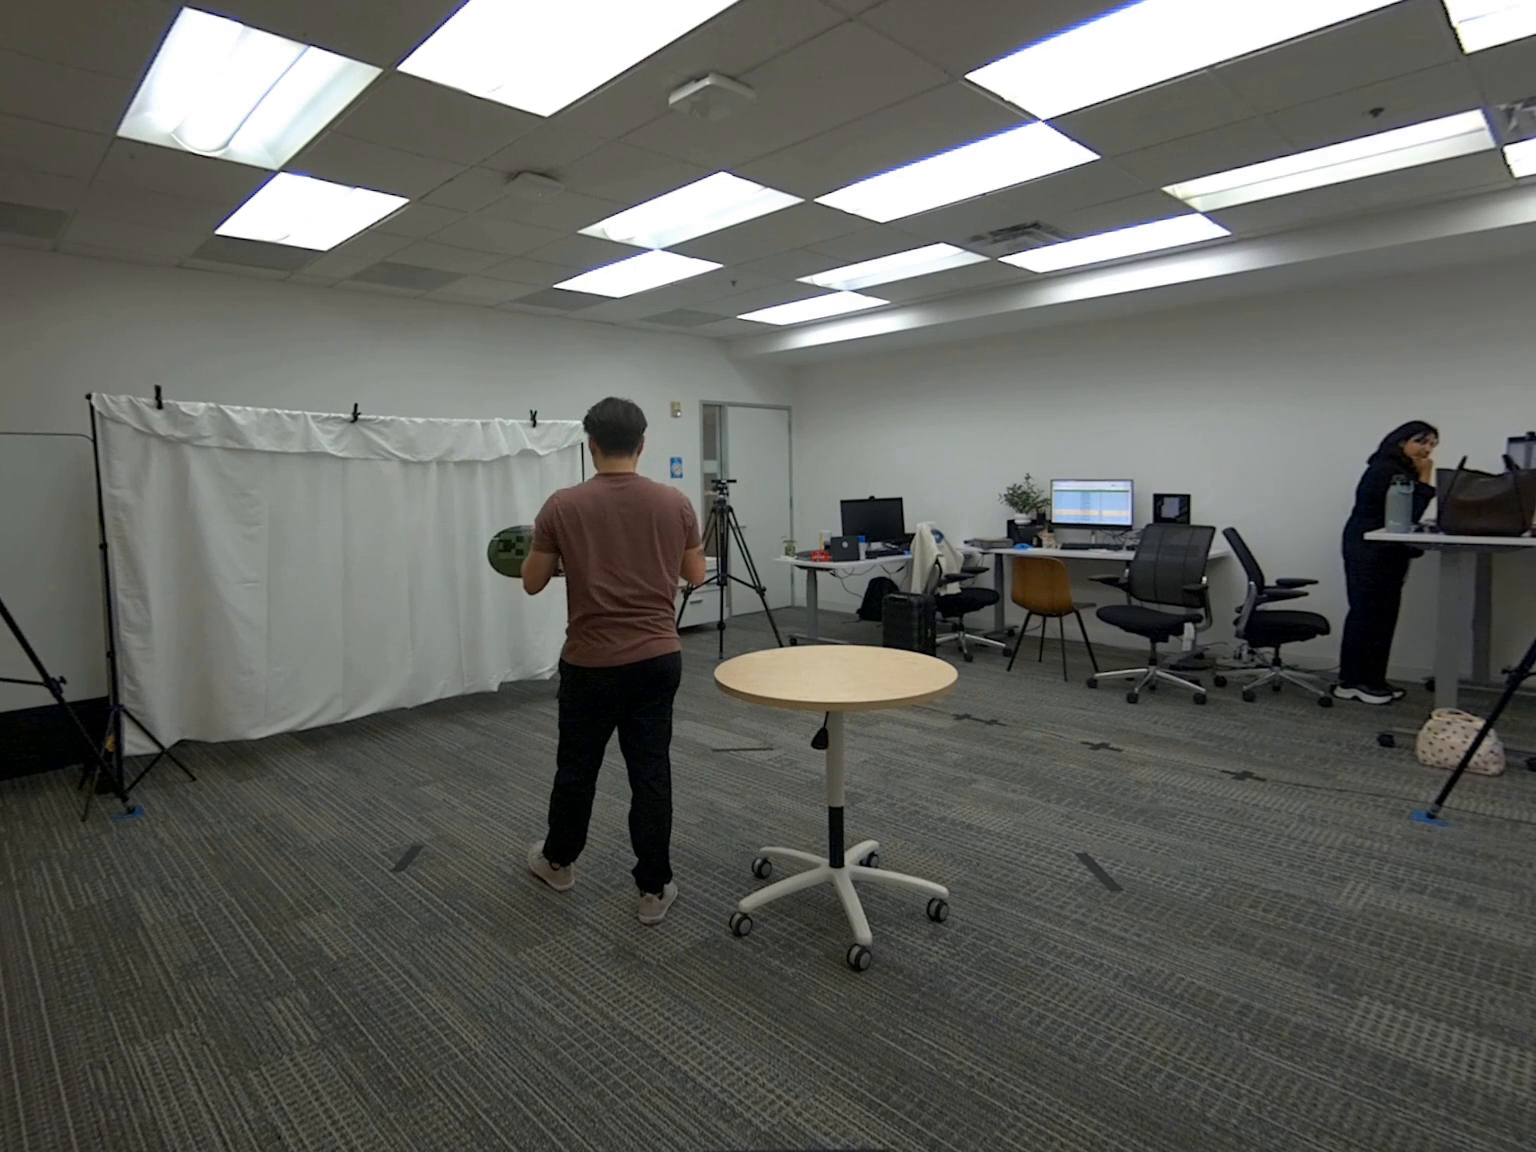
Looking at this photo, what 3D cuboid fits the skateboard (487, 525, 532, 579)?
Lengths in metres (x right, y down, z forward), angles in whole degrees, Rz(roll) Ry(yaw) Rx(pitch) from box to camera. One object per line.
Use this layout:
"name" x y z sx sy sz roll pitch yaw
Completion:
"skateboard" -0.608 -0.105 3.084 0.773 0.196 0.111 -2 -12 -17
